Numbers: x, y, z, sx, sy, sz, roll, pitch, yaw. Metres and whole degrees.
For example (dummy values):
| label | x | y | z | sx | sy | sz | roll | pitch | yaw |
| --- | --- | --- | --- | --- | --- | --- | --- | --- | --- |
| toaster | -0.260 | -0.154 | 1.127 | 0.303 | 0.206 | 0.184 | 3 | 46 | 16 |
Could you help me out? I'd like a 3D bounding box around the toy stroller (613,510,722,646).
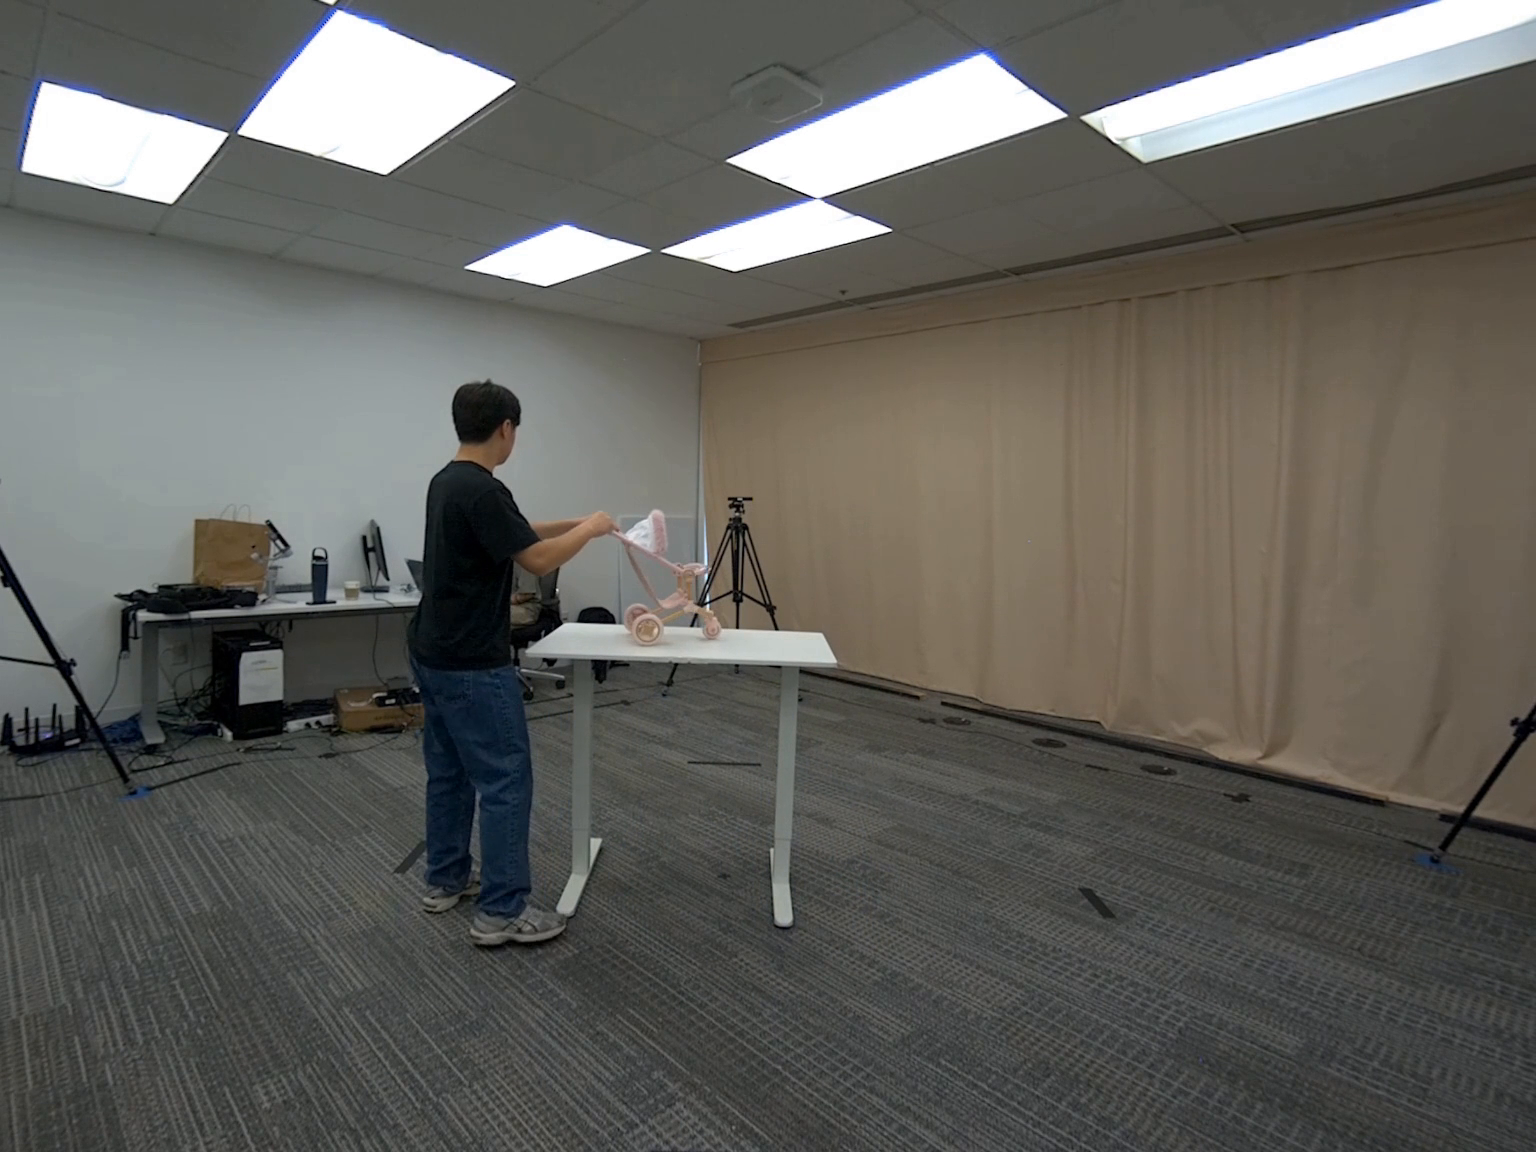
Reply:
| label | x | y | z | sx | sy | sz | roll | pitch | yaw |
| --- | --- | --- | --- | --- | --- | --- | --- | --- | --- |
| toy stroller | -0.384 | 0.007 | 2.979 | 0.339 | 0.531 | 0.285 | -14 | 7 | -10 |
